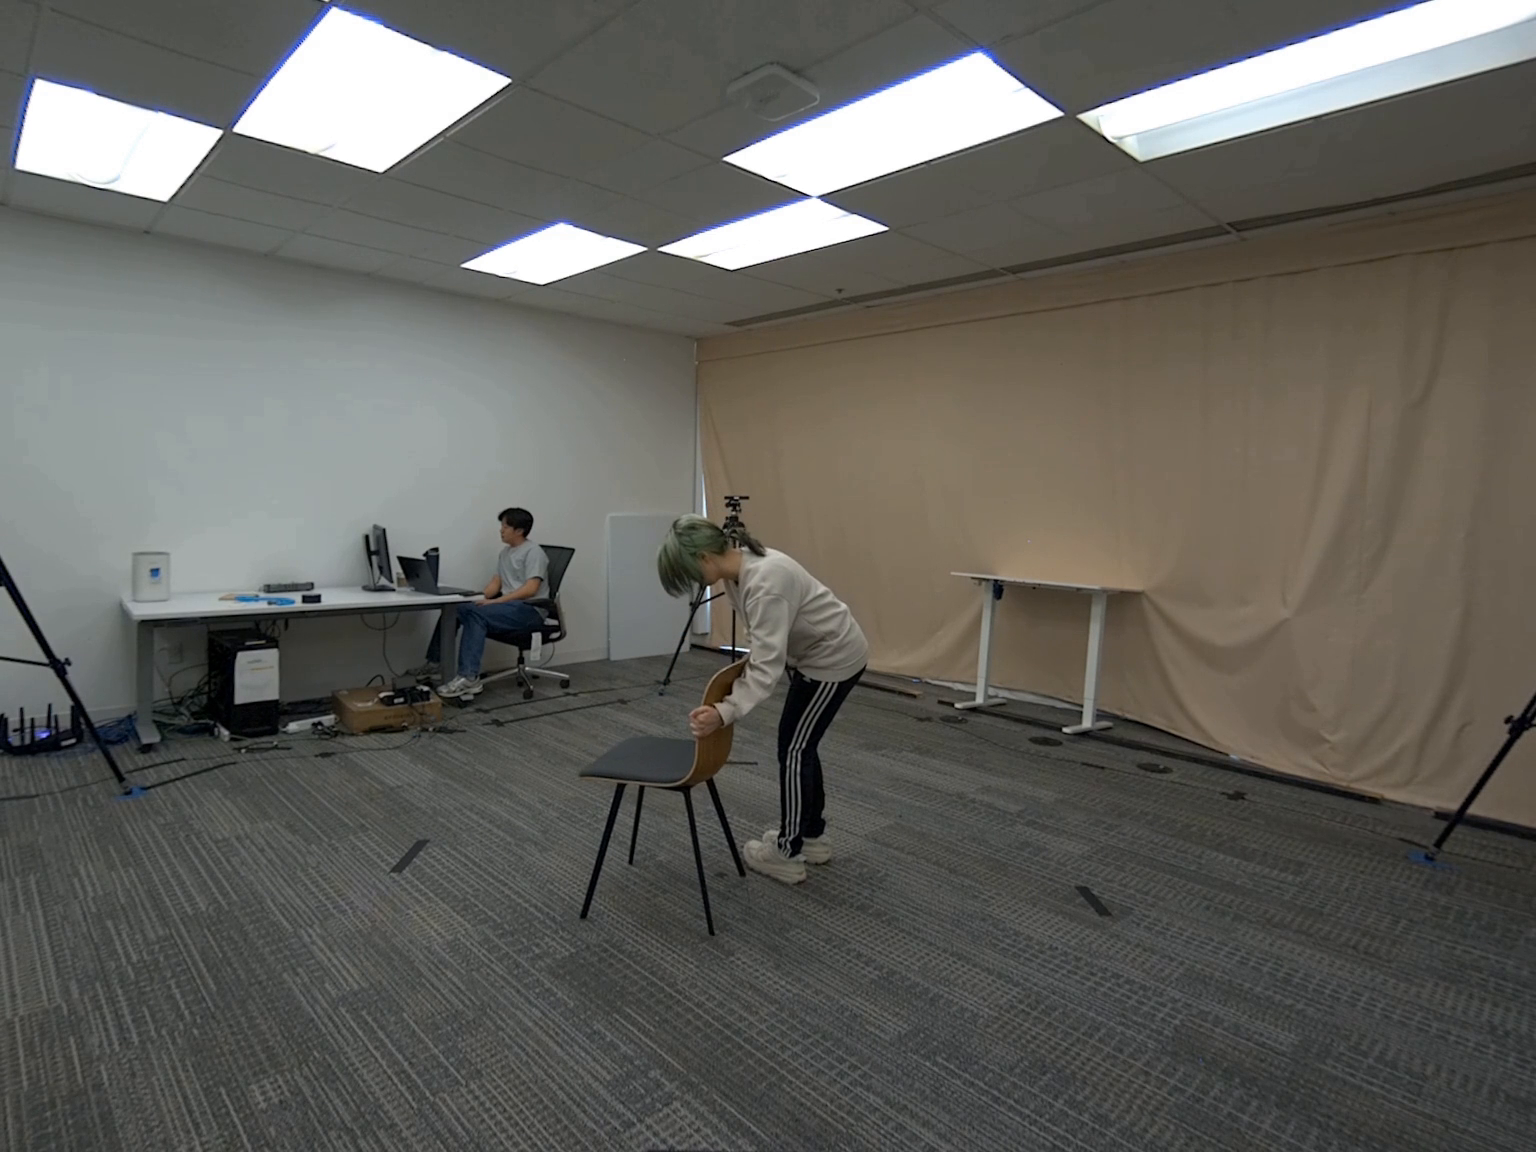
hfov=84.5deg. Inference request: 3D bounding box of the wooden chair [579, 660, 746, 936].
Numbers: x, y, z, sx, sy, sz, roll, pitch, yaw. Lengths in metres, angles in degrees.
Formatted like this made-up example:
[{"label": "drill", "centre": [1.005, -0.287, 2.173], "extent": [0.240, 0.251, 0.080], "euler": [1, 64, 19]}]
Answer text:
[{"label": "wooden chair", "centre": [-0.362, 0.687, 2.884], "extent": [0.529, 0.875, 0.474], "euler": [4, 5, 13]}]
